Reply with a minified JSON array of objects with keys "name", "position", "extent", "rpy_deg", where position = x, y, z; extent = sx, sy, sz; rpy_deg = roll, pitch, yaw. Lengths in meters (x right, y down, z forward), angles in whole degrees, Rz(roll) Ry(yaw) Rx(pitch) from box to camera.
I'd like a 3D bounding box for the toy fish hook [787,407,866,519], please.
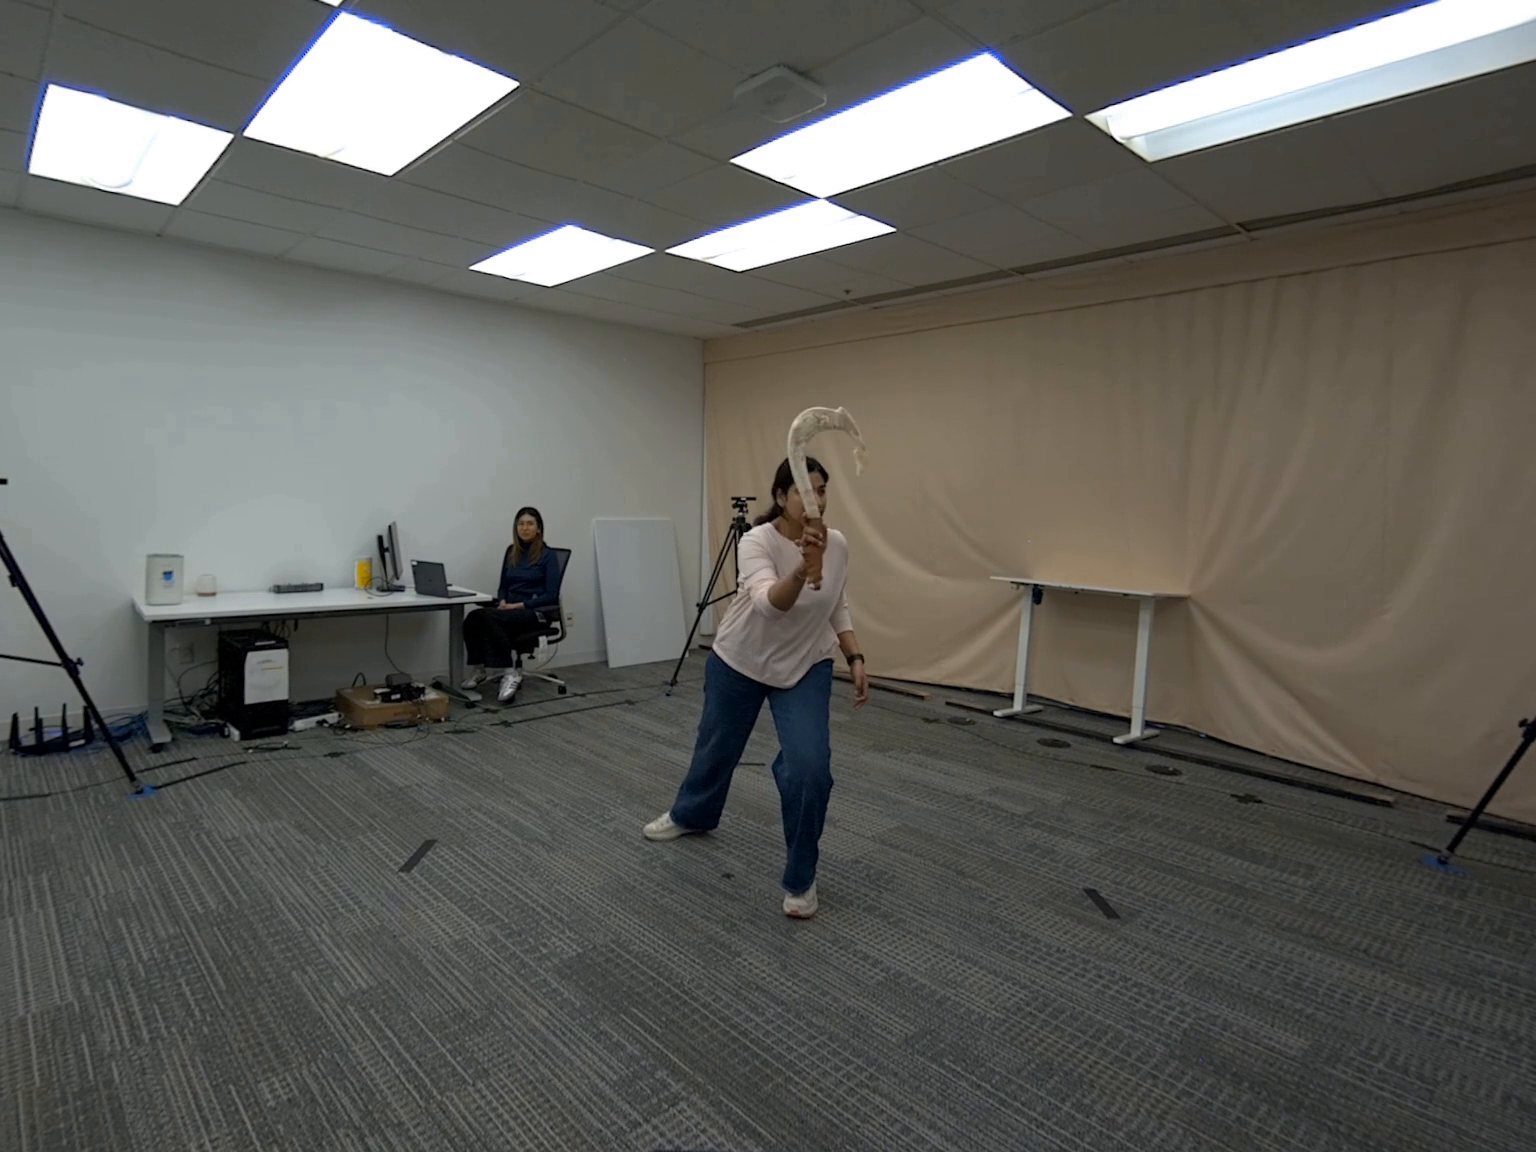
[{"name":"toy fish hook","position":[0.161,-0.213,2.322],"extent":[0.224,0.508,0.048],"rpy_deg":[-3,-4,-3]}]
